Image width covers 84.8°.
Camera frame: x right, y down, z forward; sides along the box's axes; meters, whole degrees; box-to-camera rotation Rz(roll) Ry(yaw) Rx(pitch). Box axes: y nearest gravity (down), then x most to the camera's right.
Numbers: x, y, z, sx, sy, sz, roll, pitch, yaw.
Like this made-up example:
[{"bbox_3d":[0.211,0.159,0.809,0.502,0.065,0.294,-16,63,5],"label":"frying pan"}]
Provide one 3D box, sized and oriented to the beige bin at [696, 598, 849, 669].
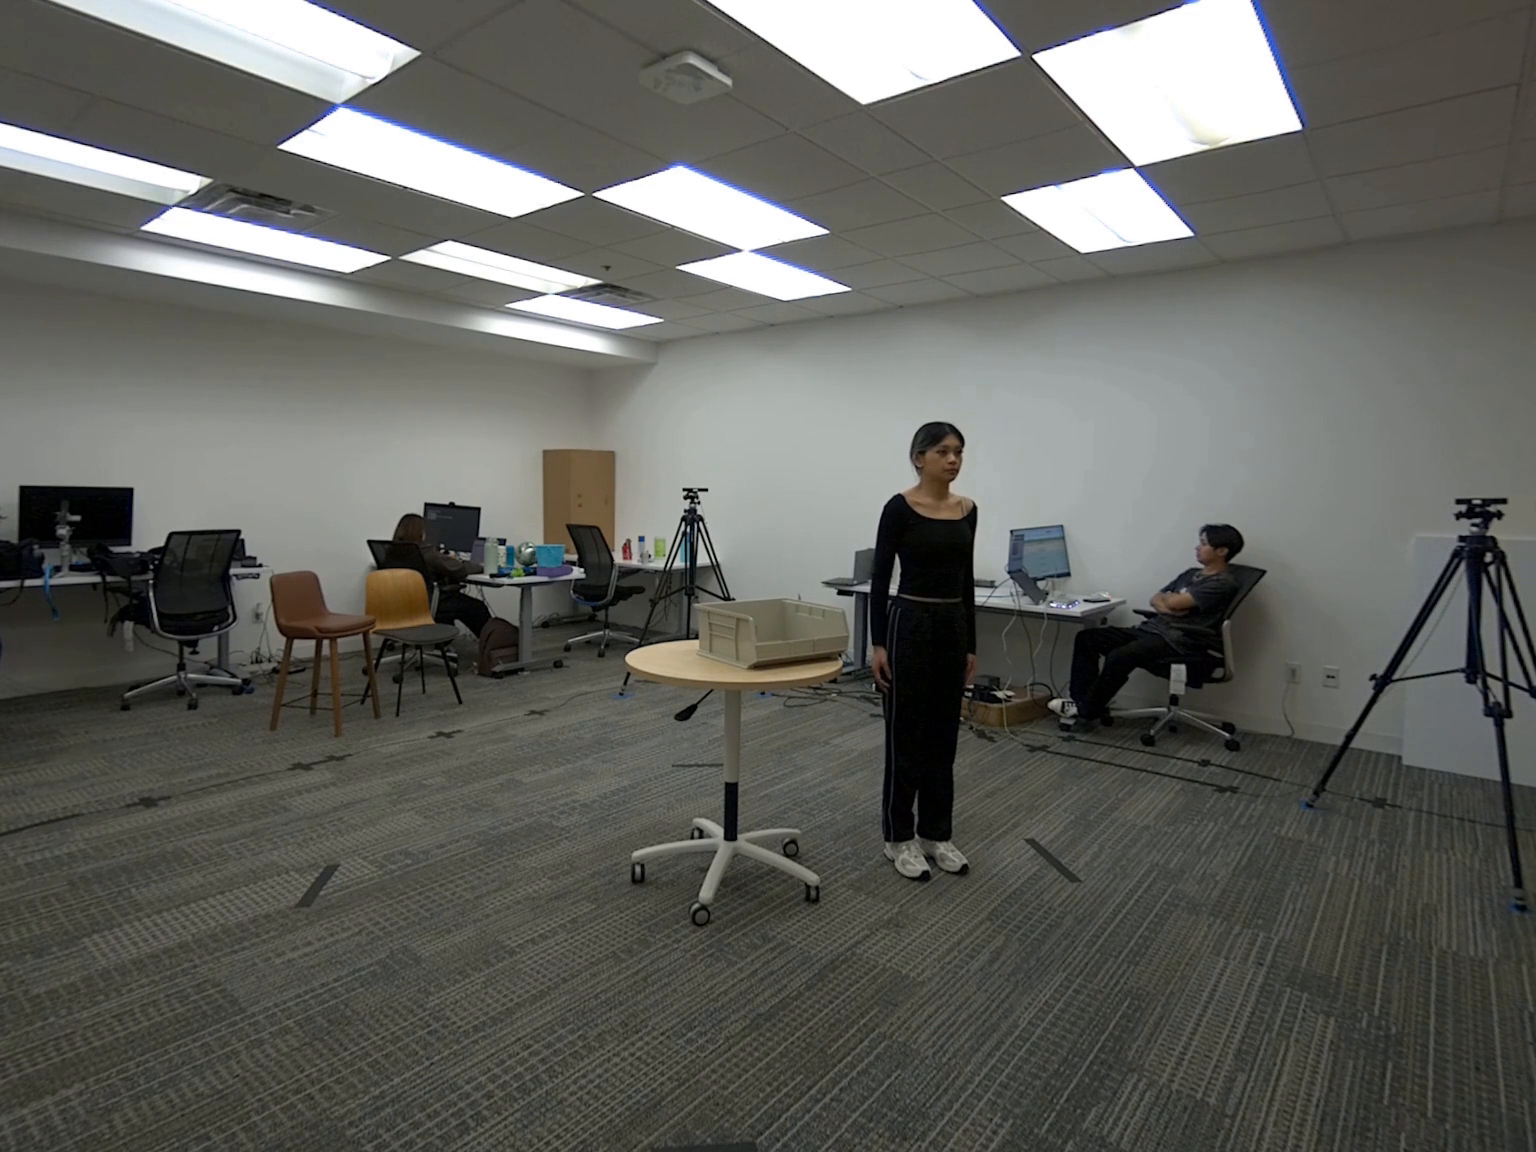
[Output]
[{"bbox_3d":[0.006,0.197,3.038,0.410,0.188,0.389,-4,6,-35],"label":"beige bin"}]
